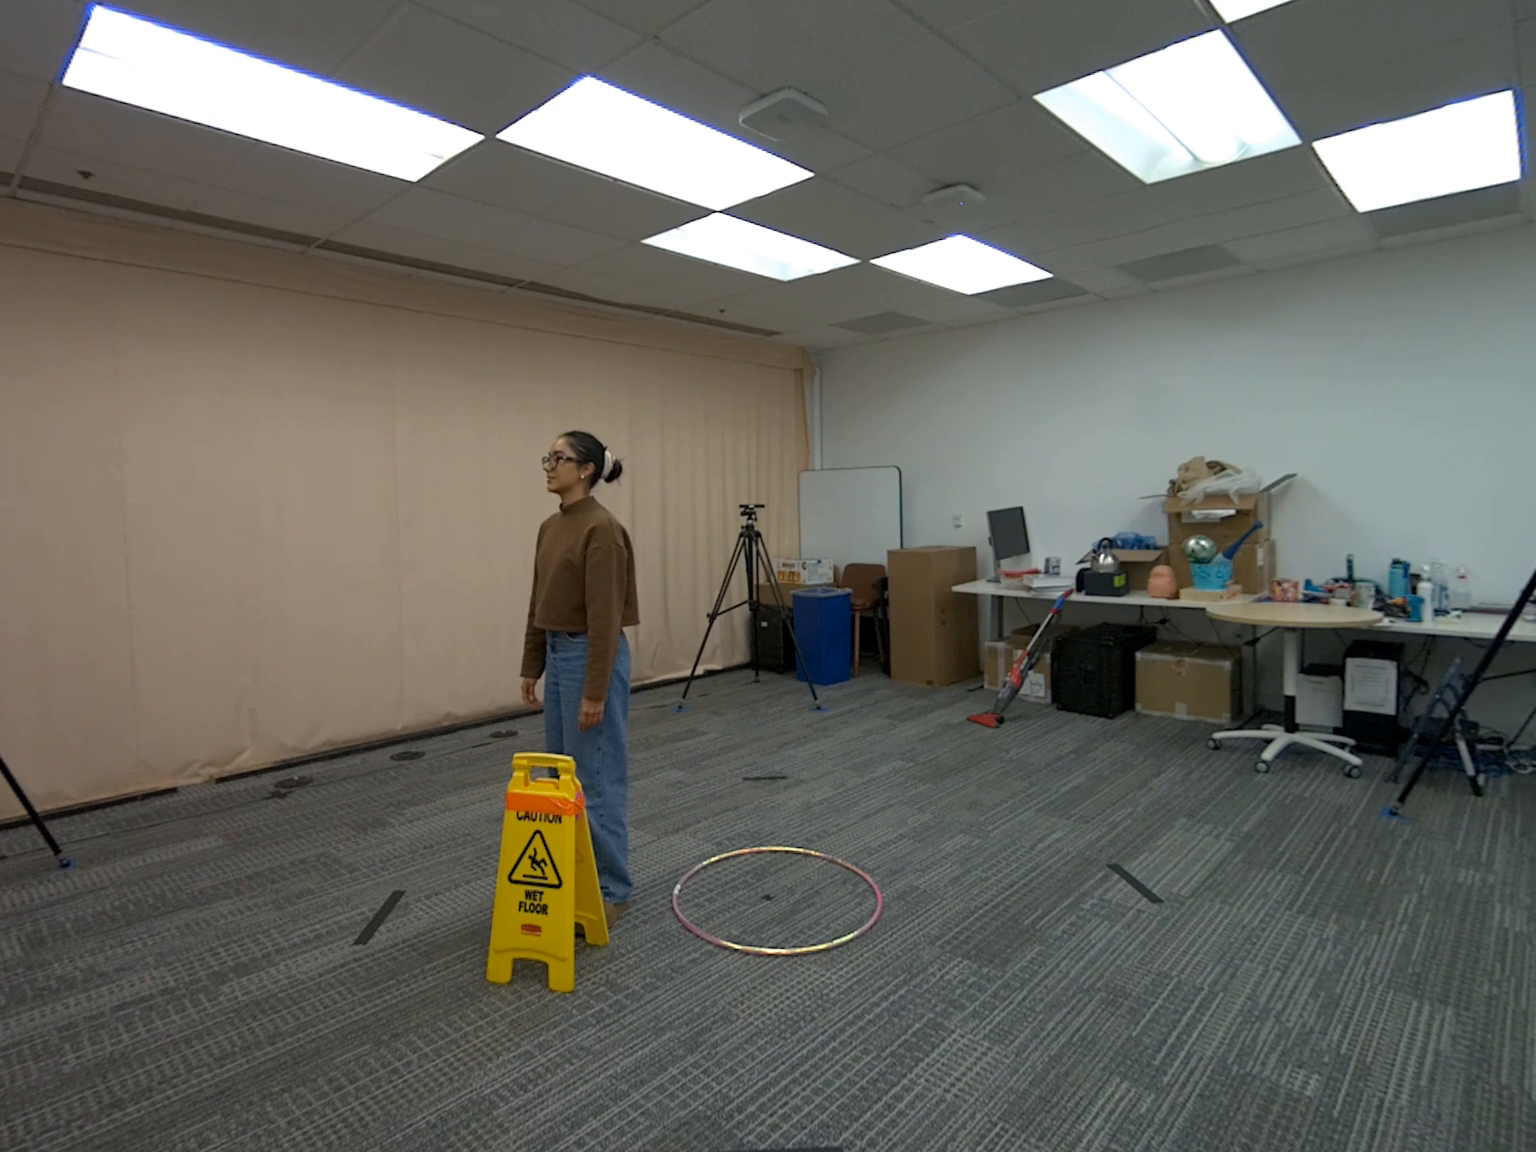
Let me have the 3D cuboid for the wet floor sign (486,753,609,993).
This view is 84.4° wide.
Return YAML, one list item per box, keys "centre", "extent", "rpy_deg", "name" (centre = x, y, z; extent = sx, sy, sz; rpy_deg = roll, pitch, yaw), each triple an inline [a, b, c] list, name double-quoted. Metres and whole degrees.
- centre: [-0.678, 0.859, 2.577]
  extent: [0.287, 0.645, 0.286]
  rpy_deg: [-2, 3, 14]
  name: "wet floor sign"
